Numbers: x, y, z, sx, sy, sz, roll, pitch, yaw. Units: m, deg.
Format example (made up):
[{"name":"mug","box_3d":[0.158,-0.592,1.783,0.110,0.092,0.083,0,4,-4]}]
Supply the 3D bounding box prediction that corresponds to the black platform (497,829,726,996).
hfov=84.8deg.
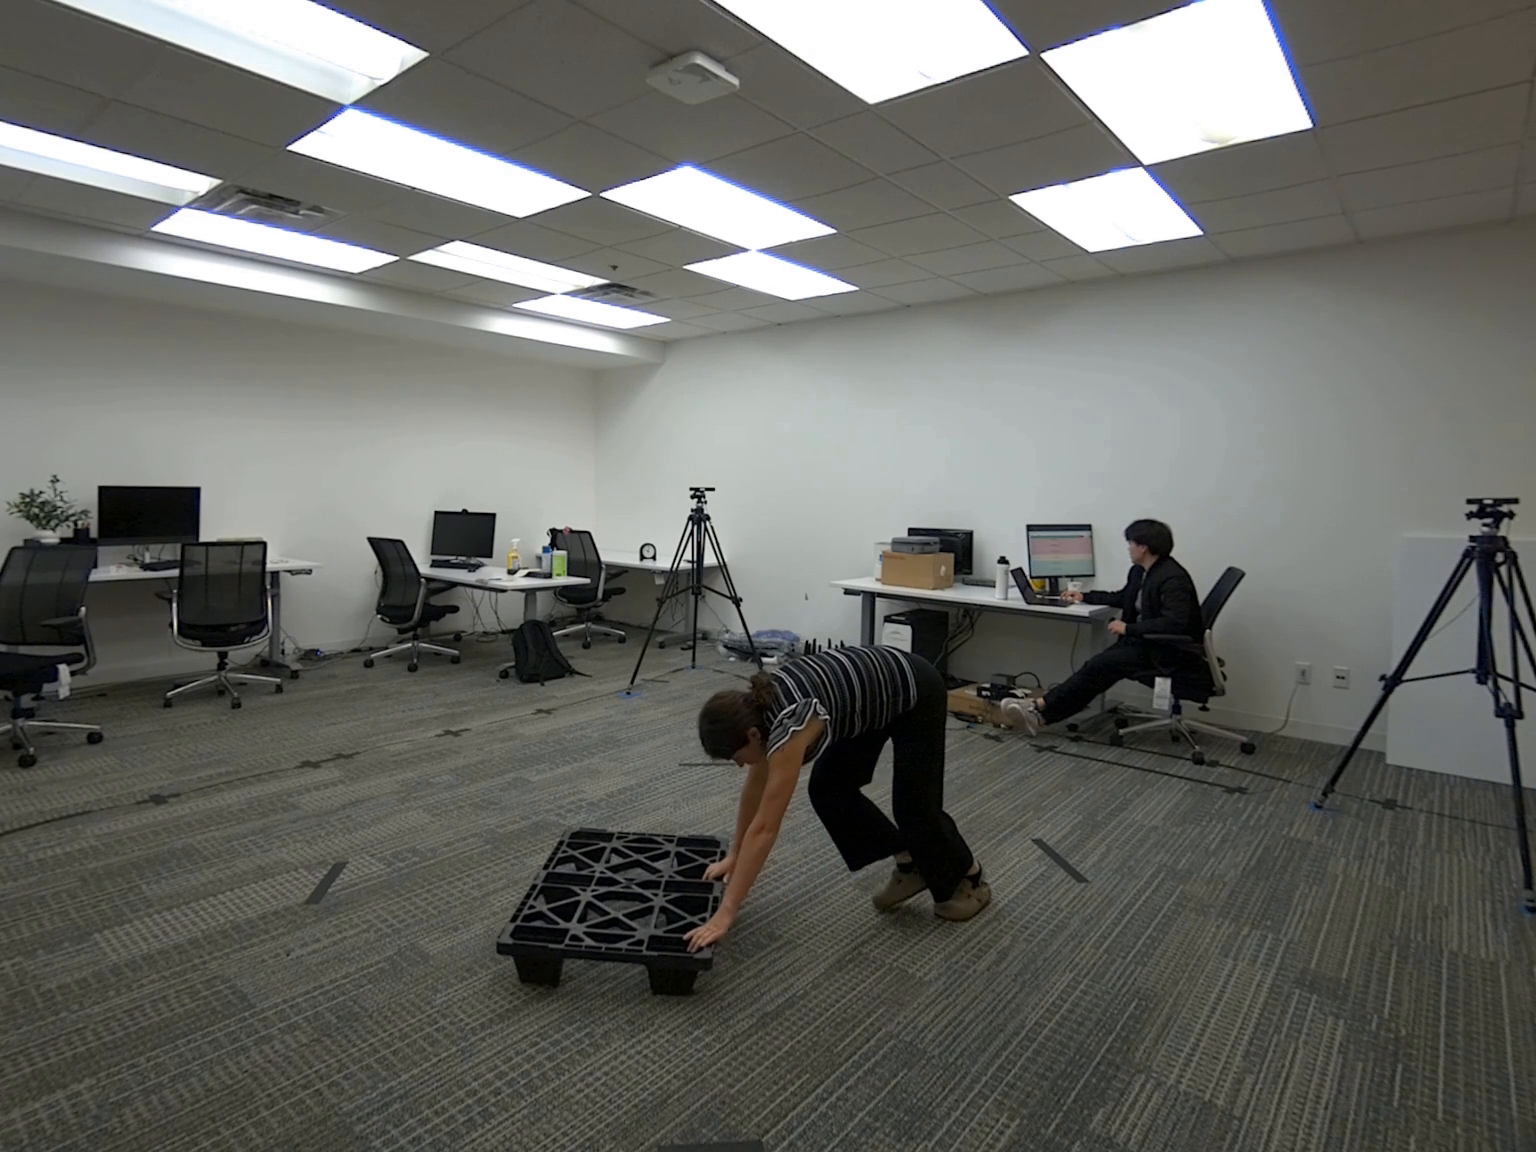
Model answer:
[{"name":"black platform","box_3d":[-0.454,1.032,2.696,0.607,0.143,0.807,1,5,1]}]
